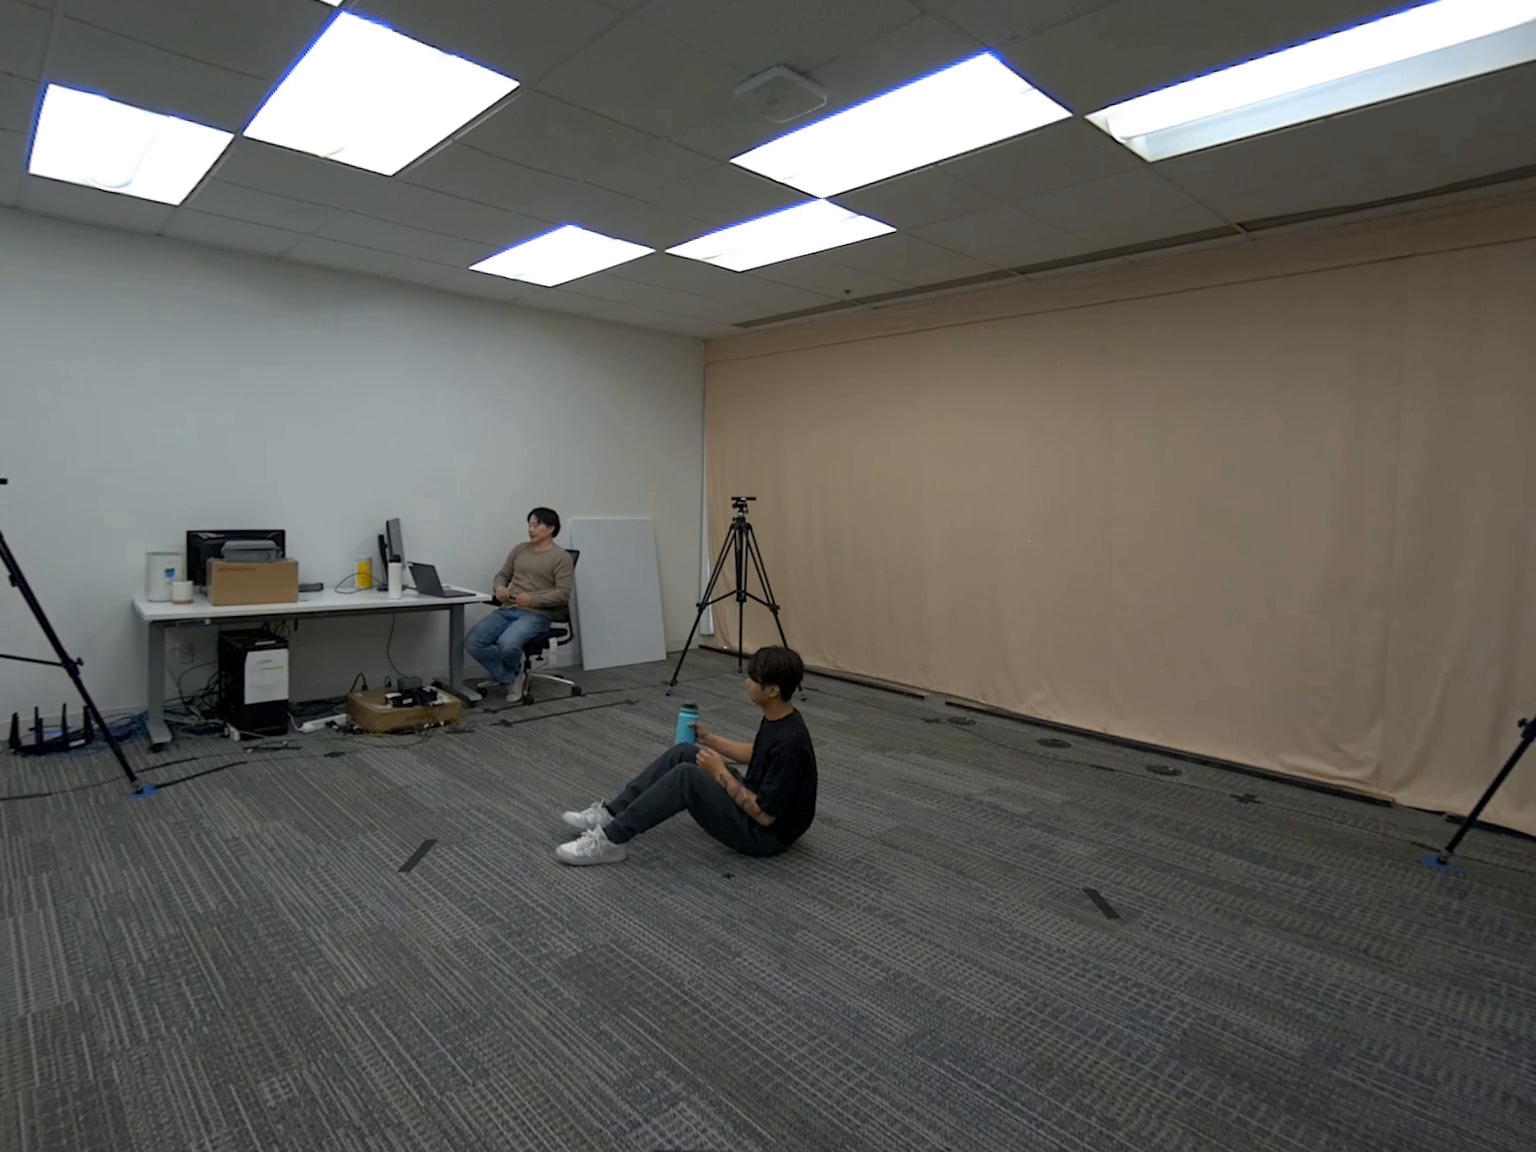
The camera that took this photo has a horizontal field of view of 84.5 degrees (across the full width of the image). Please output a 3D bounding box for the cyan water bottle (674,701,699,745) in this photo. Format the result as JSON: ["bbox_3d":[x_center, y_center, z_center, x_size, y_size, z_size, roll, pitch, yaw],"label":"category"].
[{"bbox_3d":[-0.370,0.691,3.711,0.092,0.285,0.092,4,-9,-1],"label":"cyan water bottle"}]
